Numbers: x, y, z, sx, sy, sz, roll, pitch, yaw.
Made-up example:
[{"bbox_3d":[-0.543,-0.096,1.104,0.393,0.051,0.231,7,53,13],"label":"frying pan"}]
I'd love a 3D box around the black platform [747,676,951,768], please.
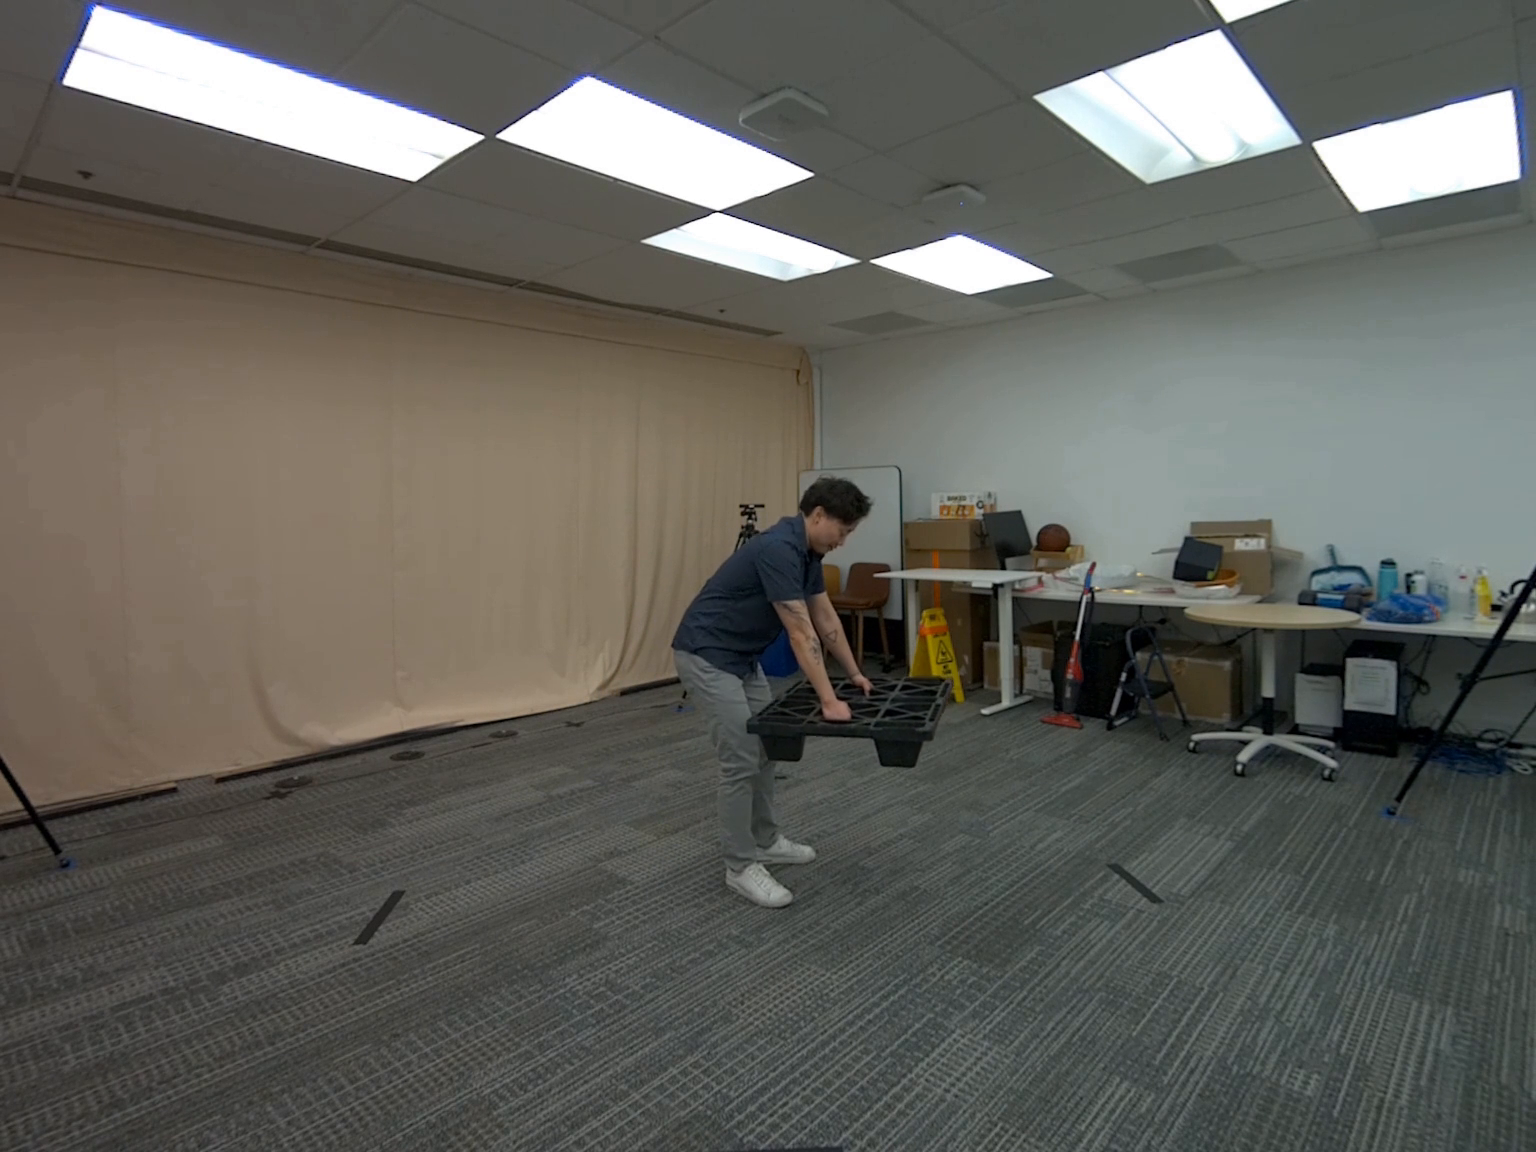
[{"bbox_3d":[0.331,0.509,3.015,0.617,0.143,0.791,-2,5,19],"label":"black platform"}]
